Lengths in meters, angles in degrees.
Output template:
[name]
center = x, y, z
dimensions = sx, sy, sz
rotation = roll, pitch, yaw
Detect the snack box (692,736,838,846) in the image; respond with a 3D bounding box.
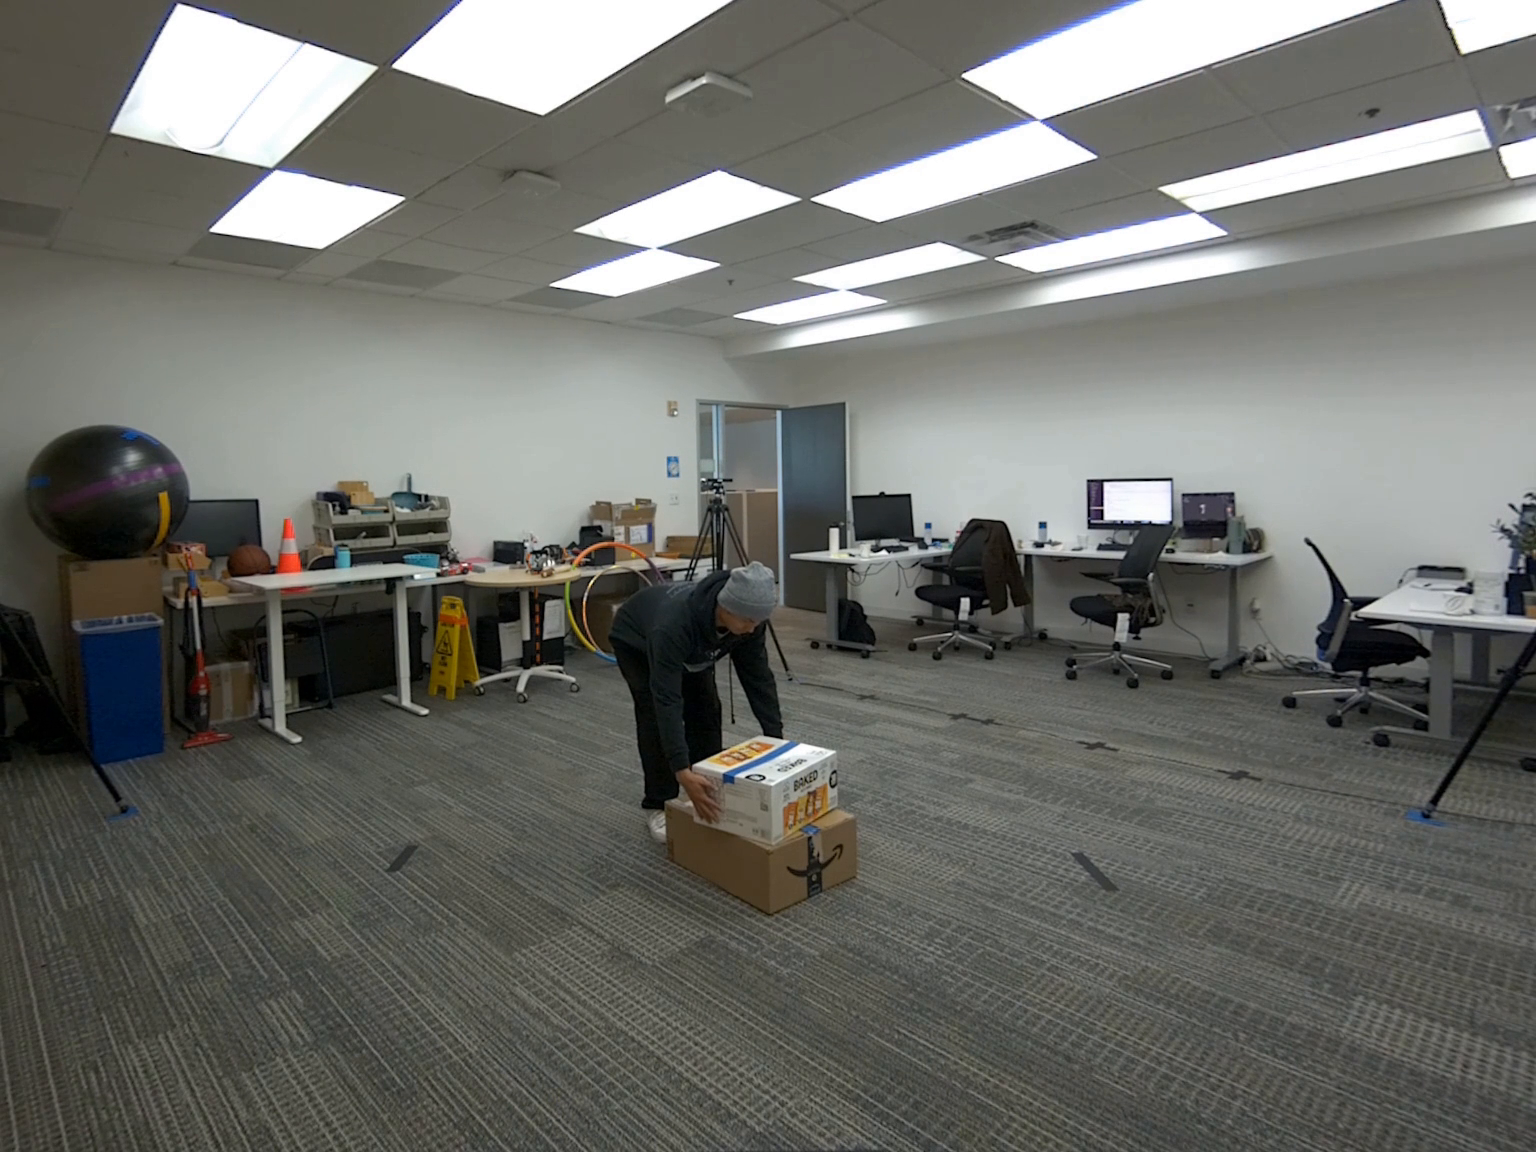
[snack box]
center = -0.005, 0.736, 2.995
dimensions = 0.350, 0.205, 0.395
rotation = 3, 7, 38
